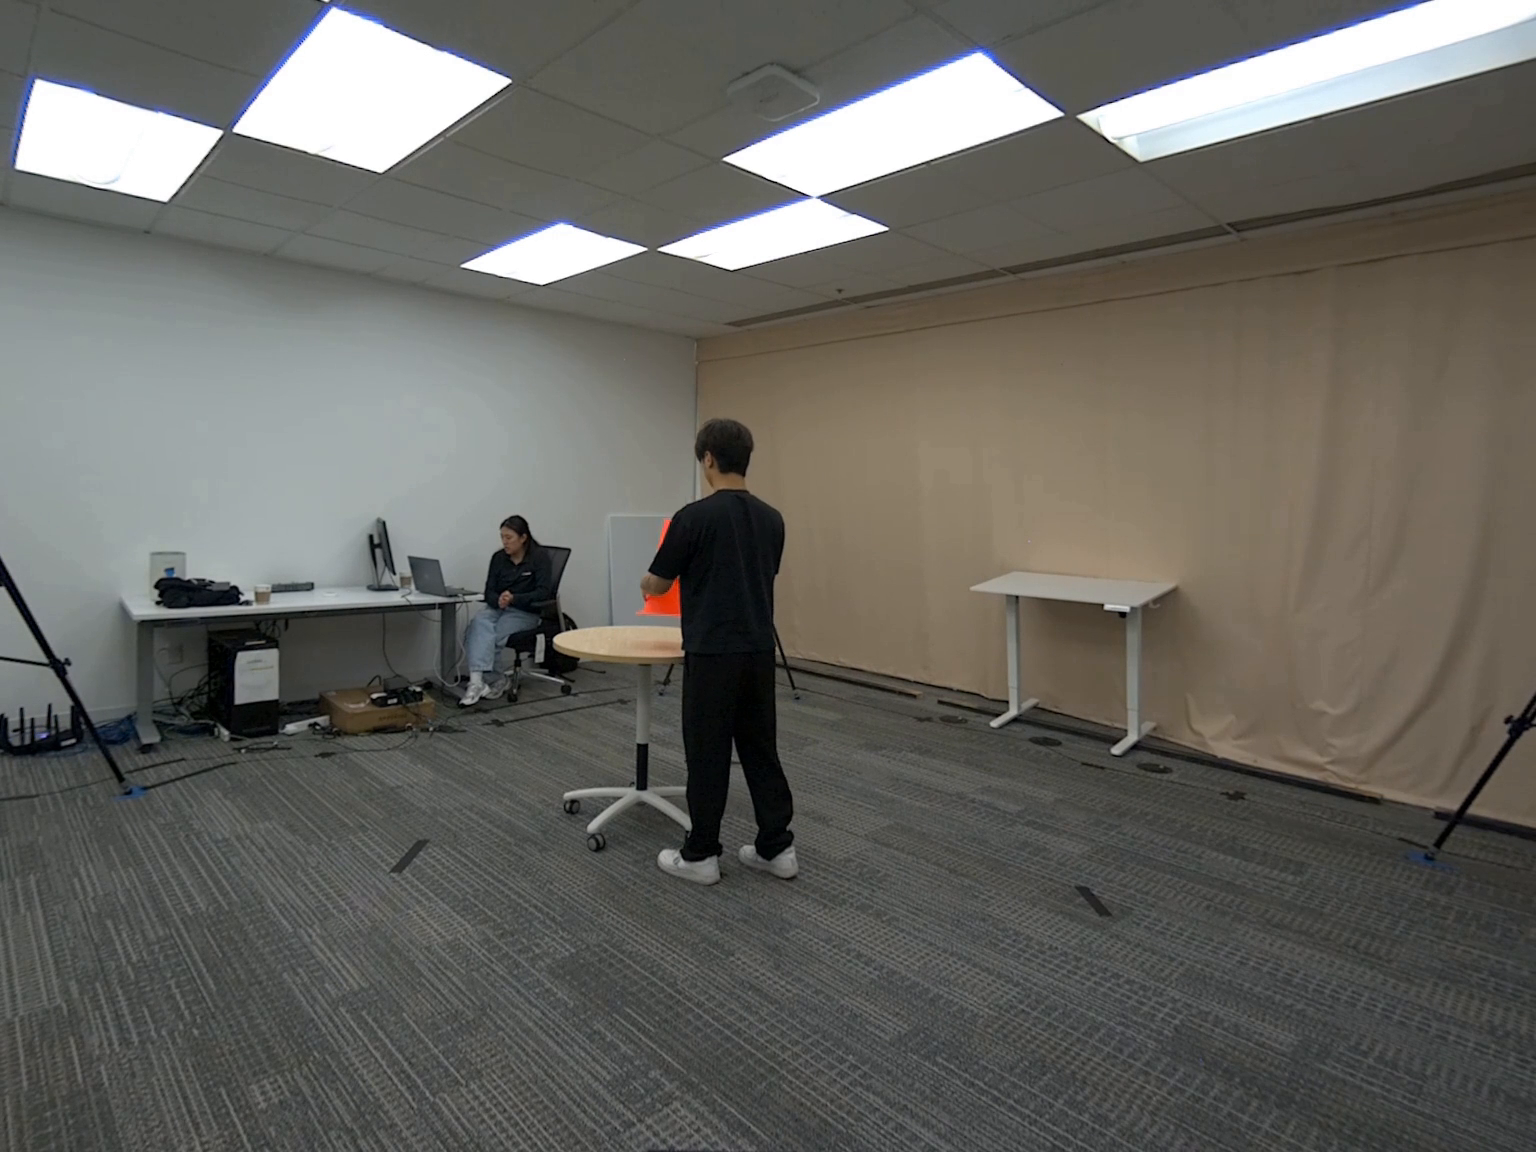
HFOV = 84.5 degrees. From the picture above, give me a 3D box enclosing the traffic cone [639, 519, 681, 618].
[{"bbox_3d":[-0.432,-0.036,3.428,0.210,0.385,0.198,-1,-5,43],"label":"traffic cone"}]
